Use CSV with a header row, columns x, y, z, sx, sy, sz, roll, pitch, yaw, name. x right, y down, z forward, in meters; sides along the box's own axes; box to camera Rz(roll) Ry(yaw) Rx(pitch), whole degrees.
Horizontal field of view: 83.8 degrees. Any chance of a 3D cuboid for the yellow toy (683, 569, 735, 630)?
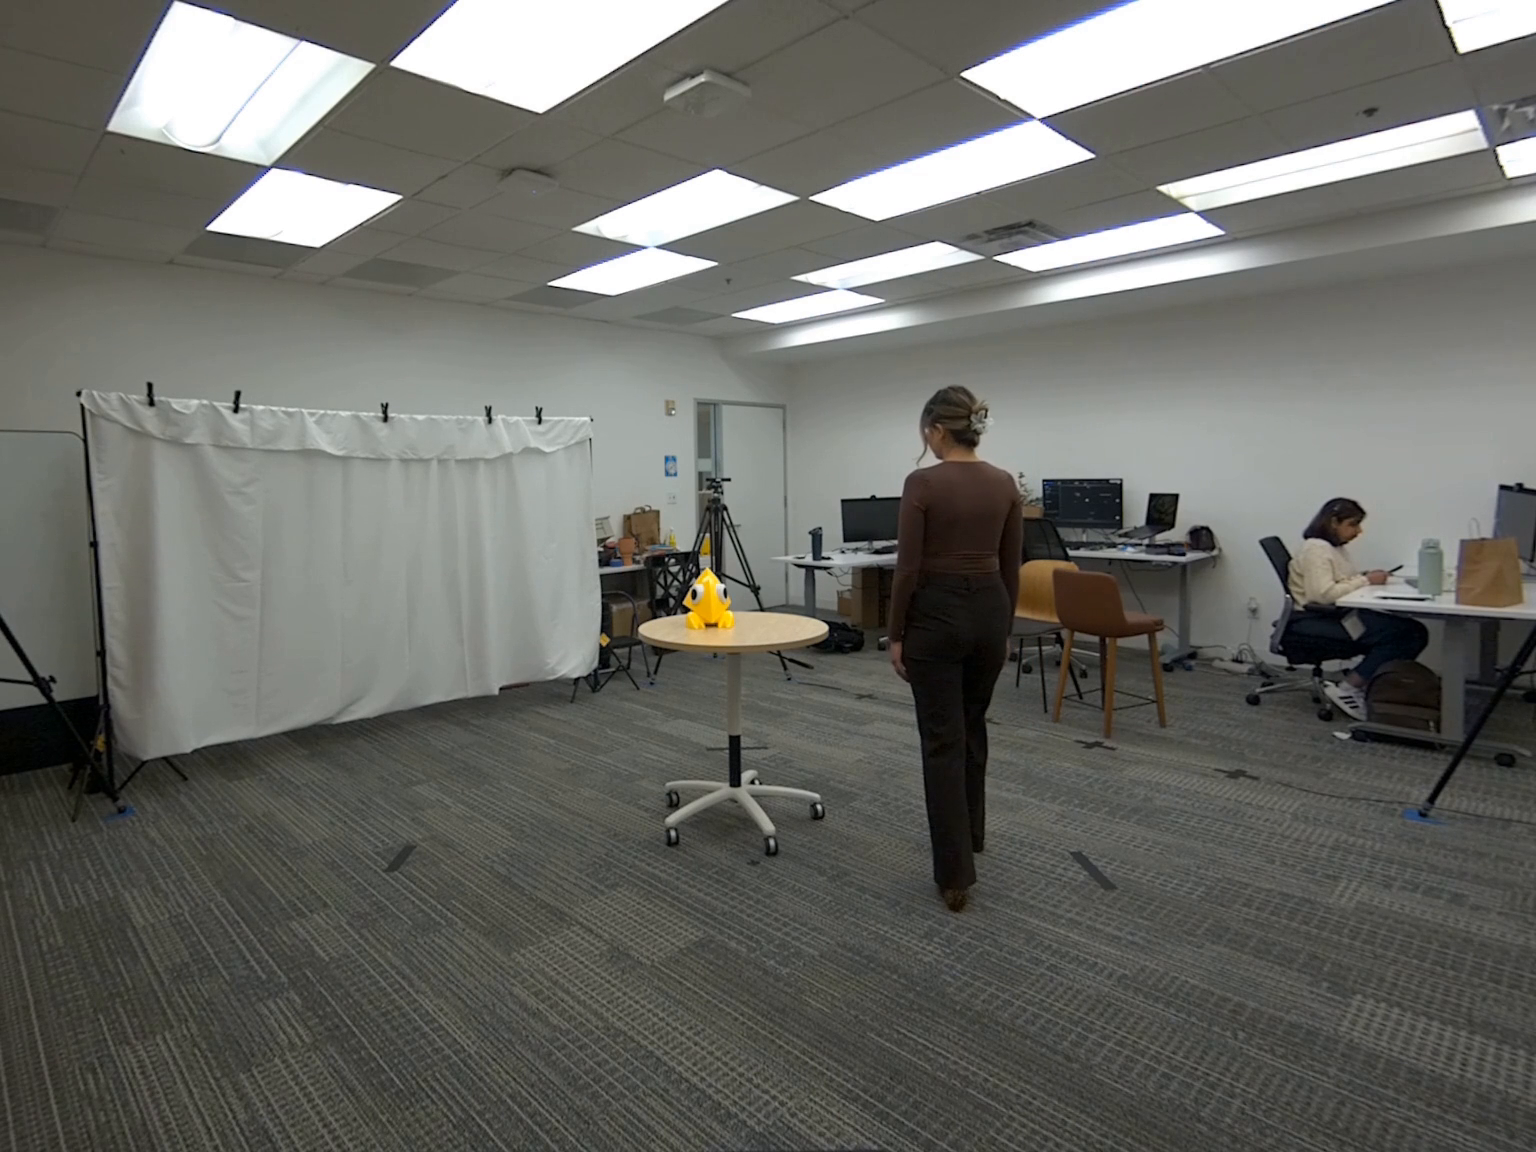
x,y,z,sx,sy,sz,roll,pitch,yaw,name
-0.238,0.086,3.500,0.203,0.230,0.195,-2,5,-9,yellow toy
